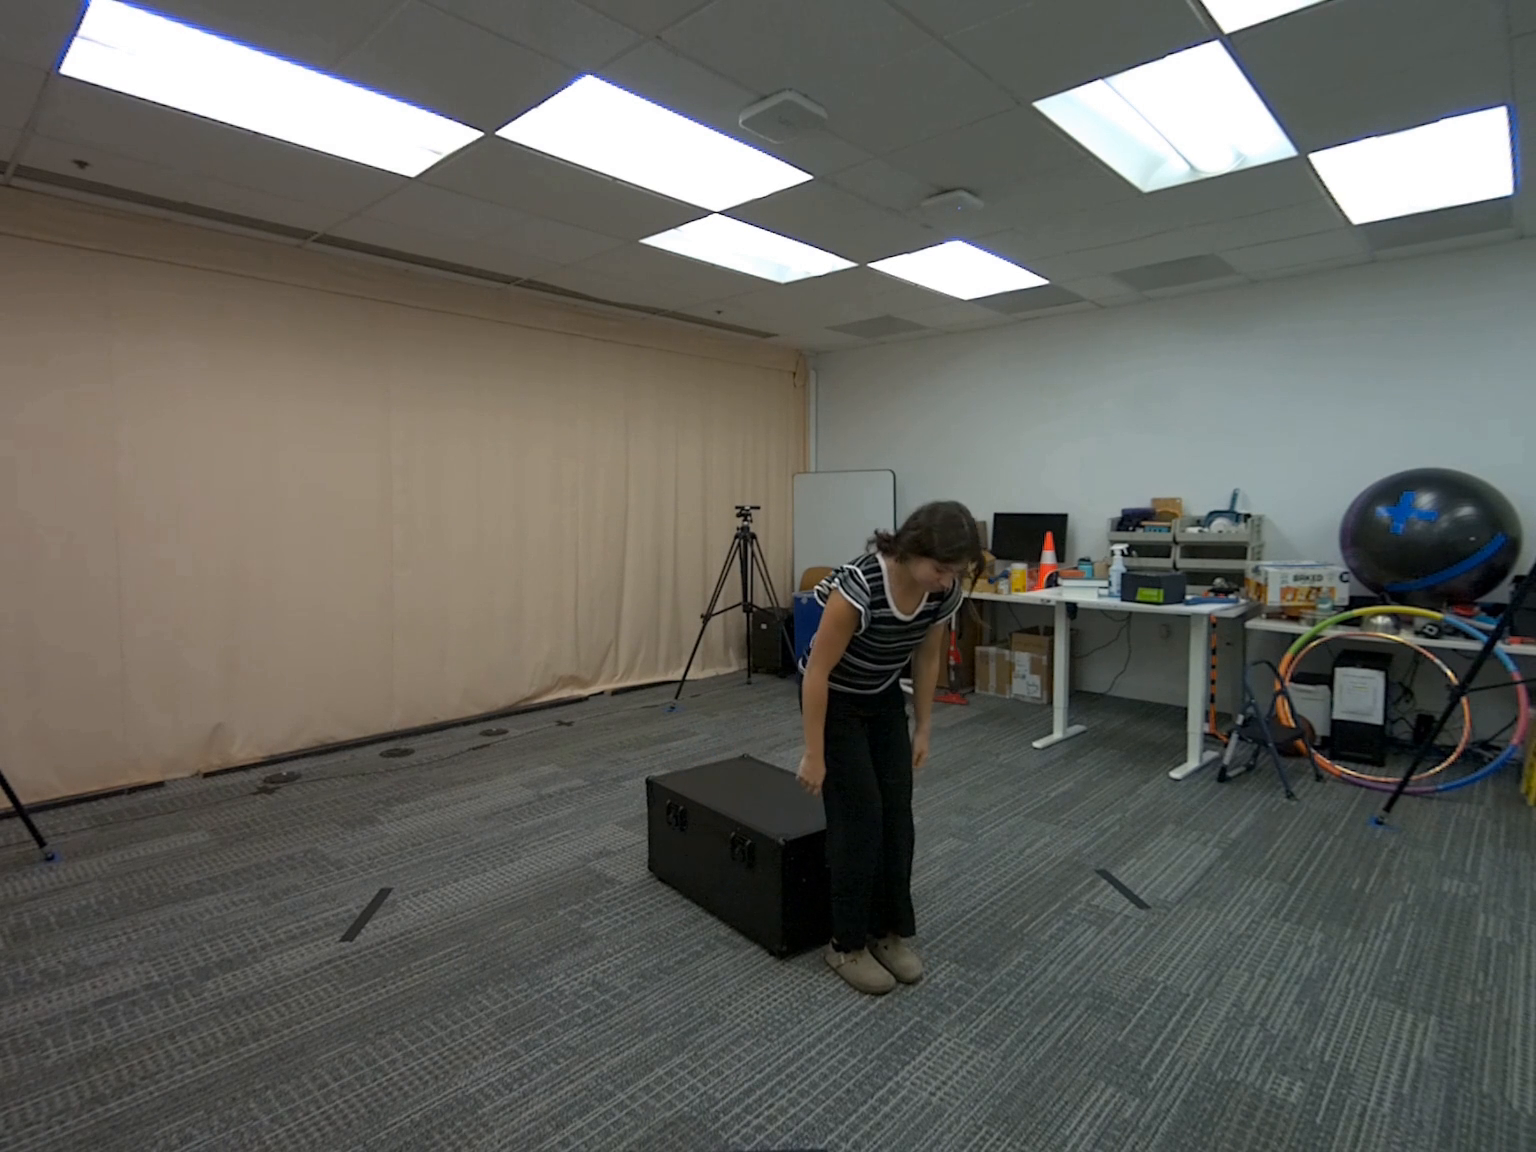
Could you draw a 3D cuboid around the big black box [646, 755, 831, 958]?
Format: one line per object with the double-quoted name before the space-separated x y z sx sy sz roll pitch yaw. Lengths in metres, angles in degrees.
"big black box" -0.039 0.950 3.027 0.506 0.395 0.890 -3 6 -38
